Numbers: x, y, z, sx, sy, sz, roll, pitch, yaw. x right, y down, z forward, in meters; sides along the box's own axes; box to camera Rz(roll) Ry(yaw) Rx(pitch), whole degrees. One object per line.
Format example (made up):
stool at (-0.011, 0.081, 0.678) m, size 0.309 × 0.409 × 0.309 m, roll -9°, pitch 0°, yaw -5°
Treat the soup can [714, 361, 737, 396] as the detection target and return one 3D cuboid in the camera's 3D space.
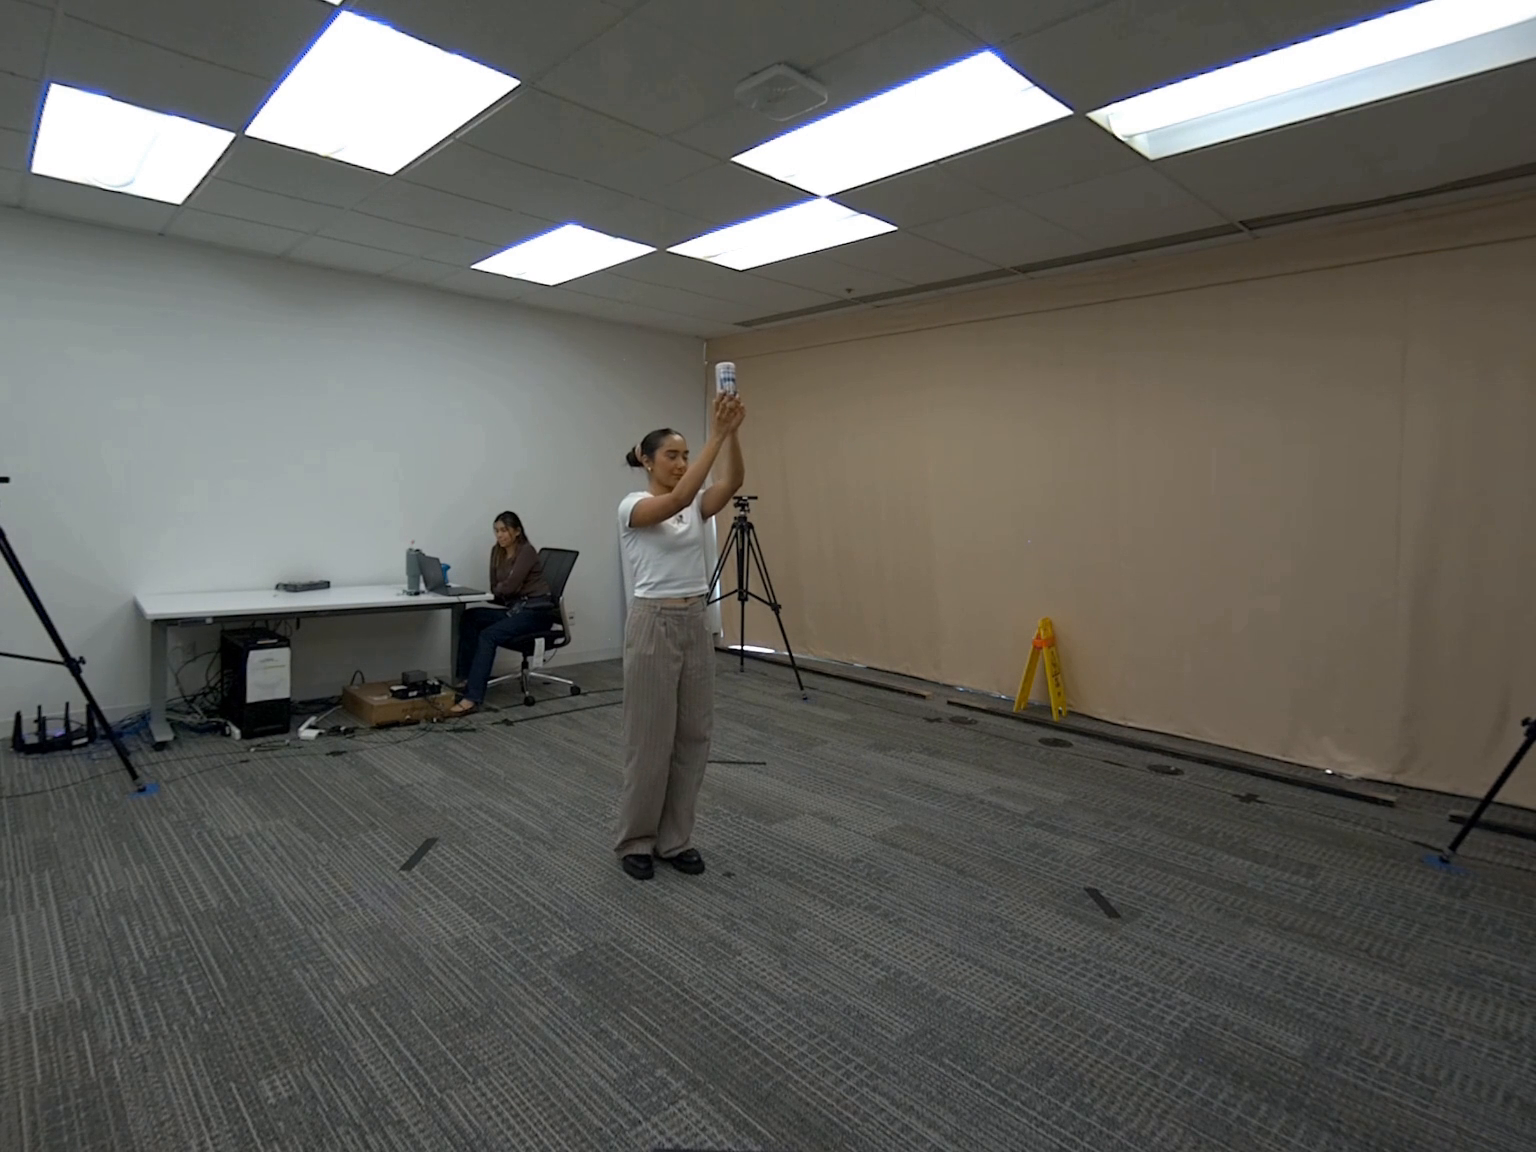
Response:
soup can at (-0.156, -0.657, 2.841) m, size 0.067 × 0.121 × 0.067 m, roll 0°, pitch 0°, yaw -1°
